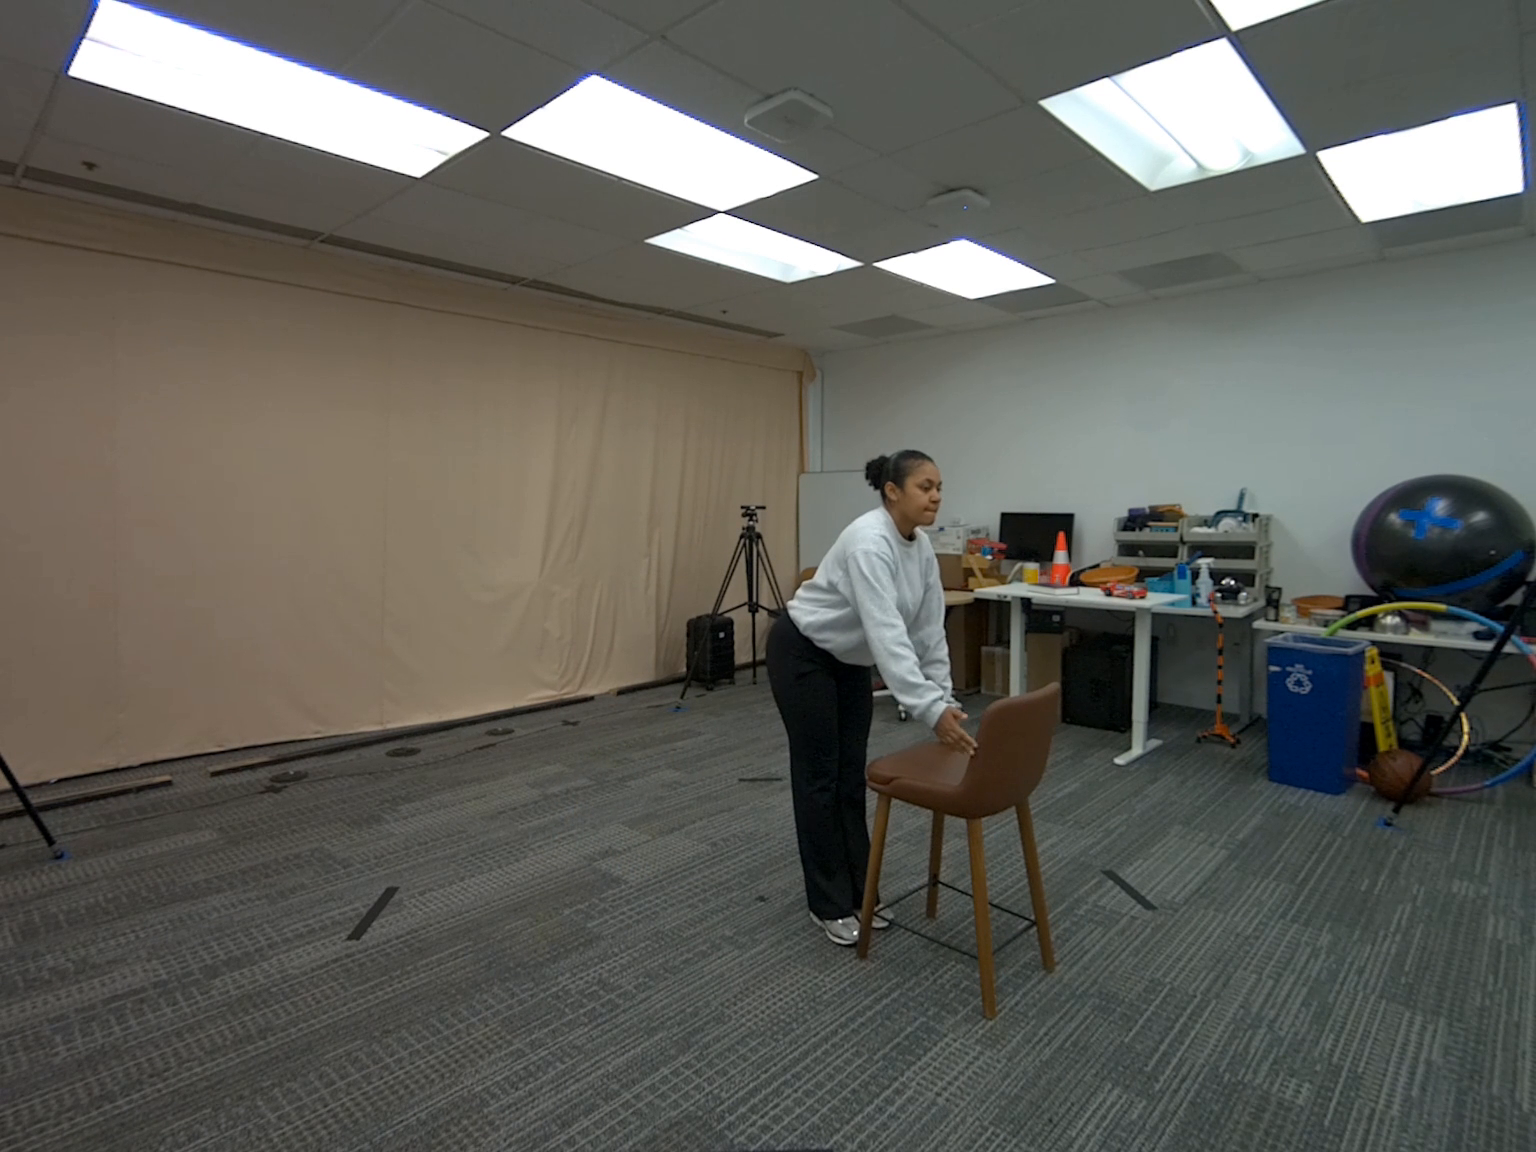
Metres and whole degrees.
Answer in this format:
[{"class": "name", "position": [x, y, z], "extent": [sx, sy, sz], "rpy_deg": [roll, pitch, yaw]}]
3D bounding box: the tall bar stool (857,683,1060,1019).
[{"class": "tall bar stool", "position": [0.581, 0.741, 2.537], "extent": [0.442, 0.887, 0.483], "rpy_deg": [-4, 7, -44]}]
